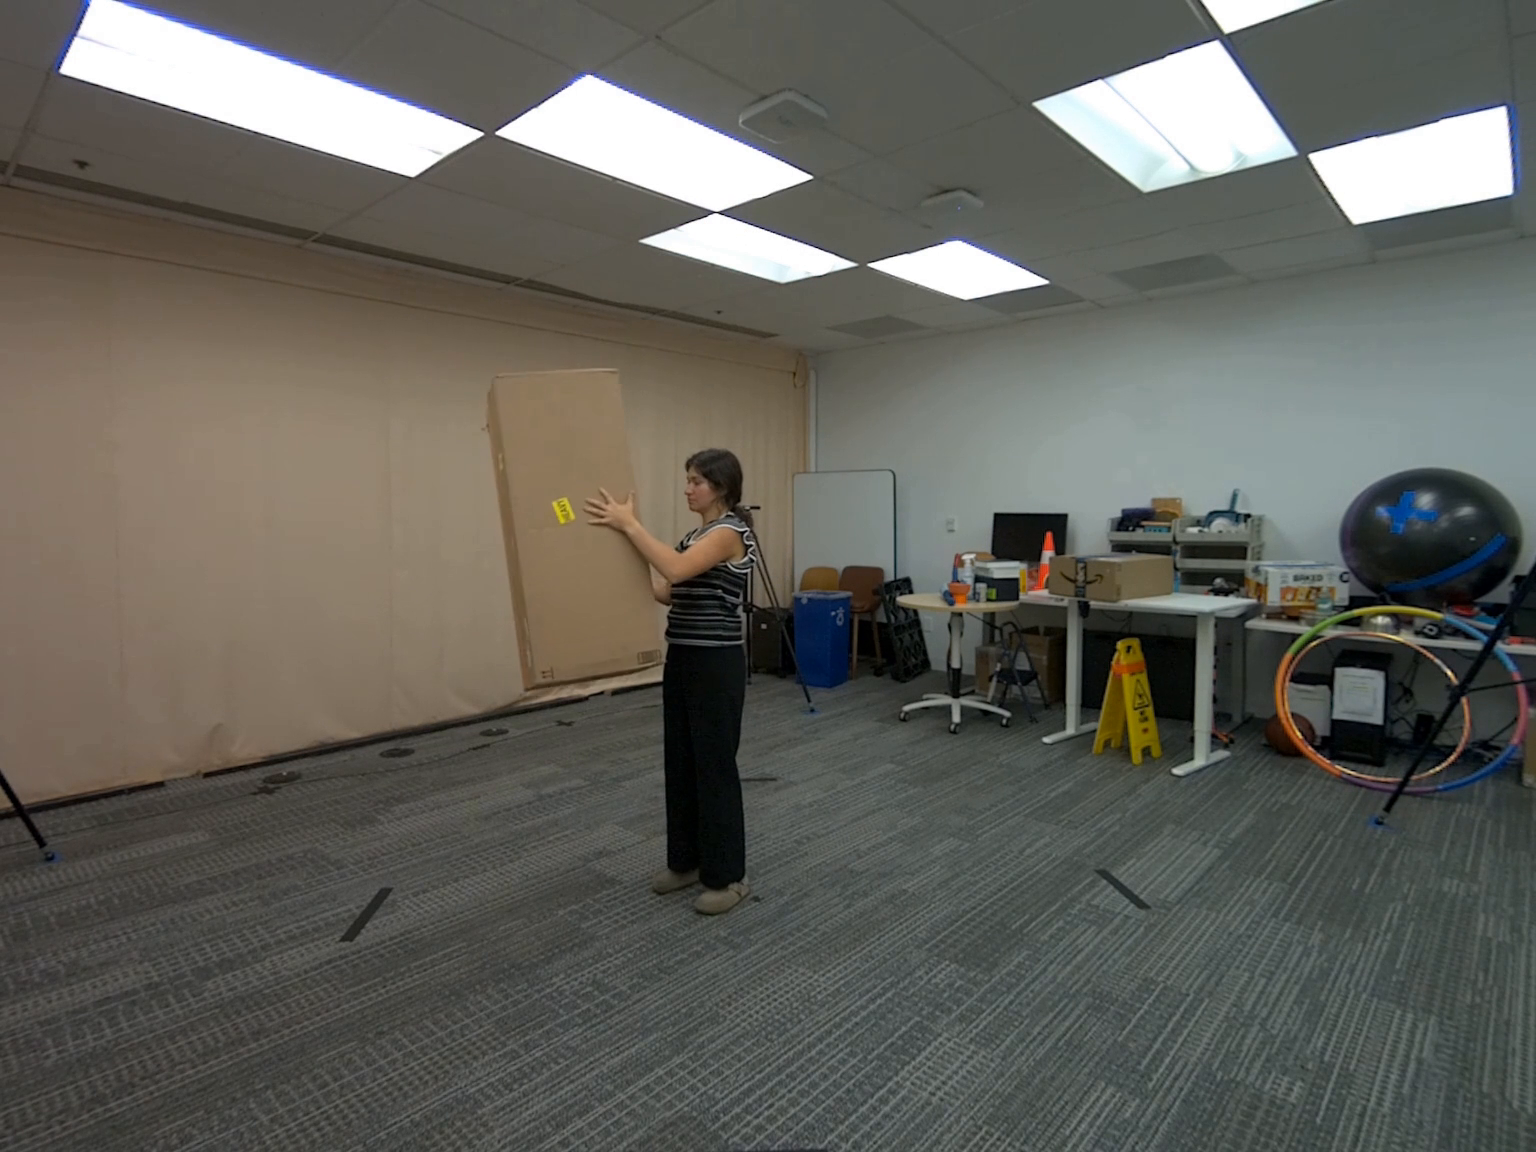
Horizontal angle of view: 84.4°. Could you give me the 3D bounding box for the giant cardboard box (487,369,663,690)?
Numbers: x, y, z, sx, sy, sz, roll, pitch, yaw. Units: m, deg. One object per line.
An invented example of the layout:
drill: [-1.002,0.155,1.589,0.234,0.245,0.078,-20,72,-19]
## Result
giant cardboard box: [-0.711,-0.143,3.013,0.418,1.033,0.584,-7,-9,-20]
